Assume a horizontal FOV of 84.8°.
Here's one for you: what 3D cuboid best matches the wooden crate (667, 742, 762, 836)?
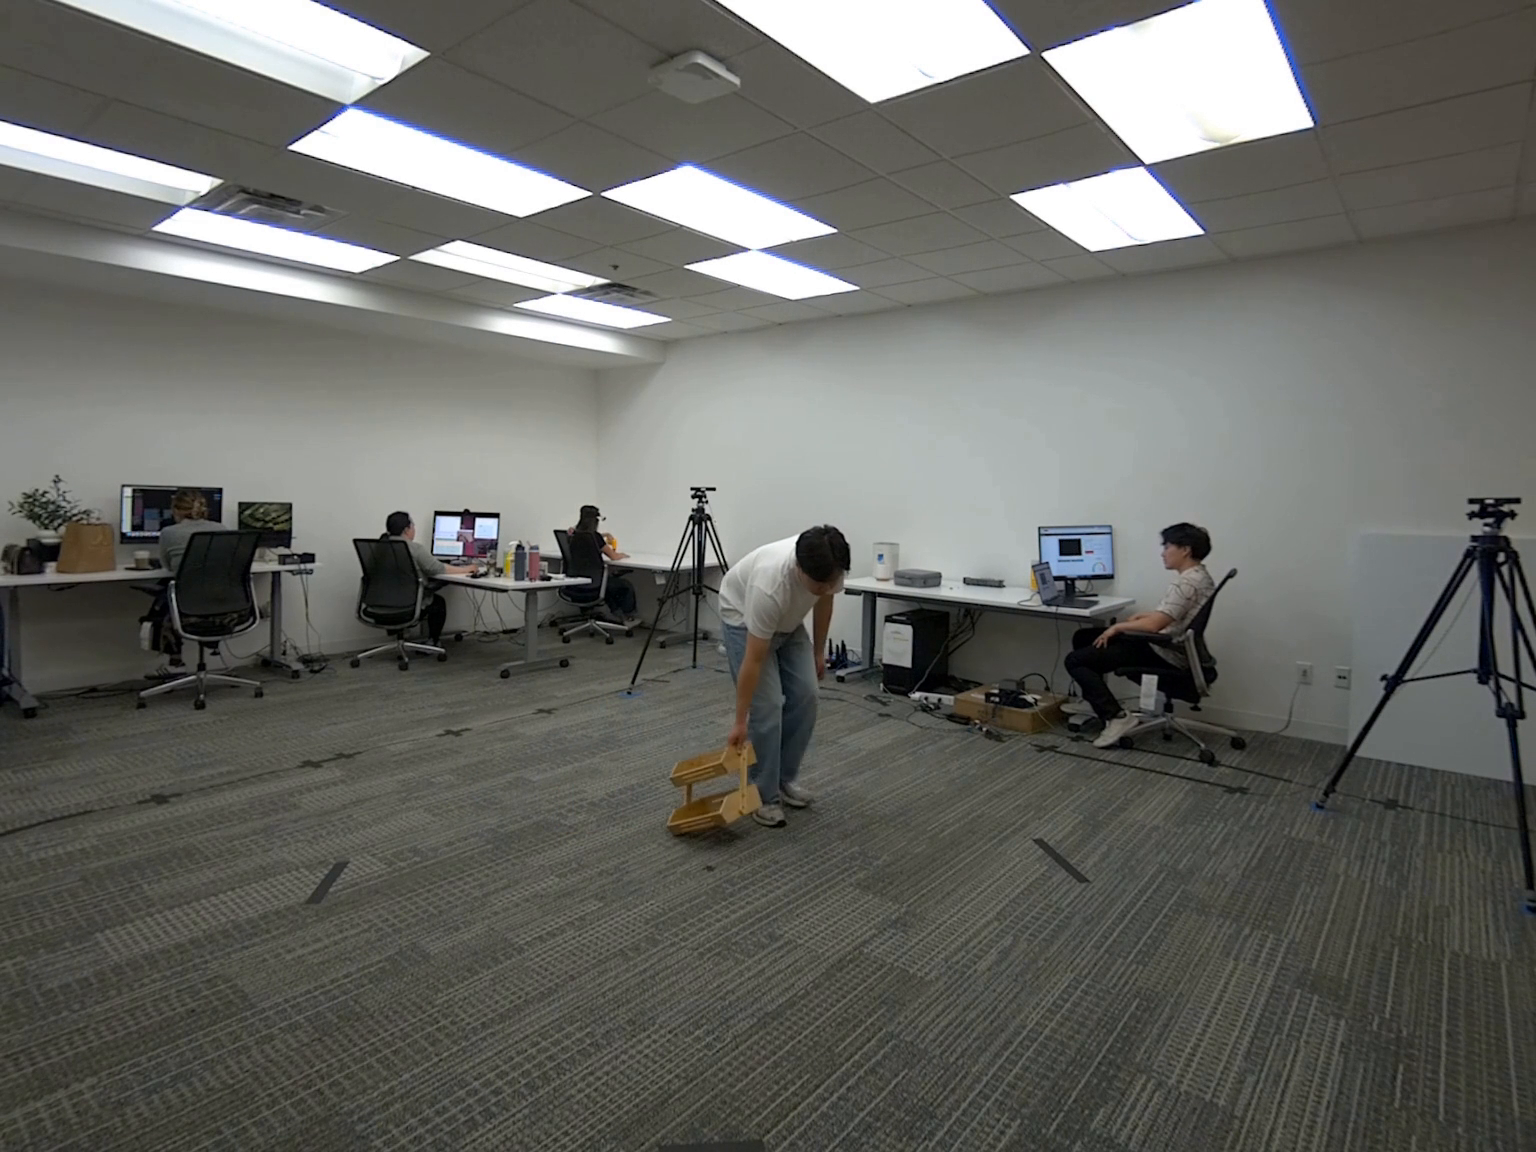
[{"bbox_3d":[-0.246,0.850,3.440,0.329,0.277,0.293,-25,-12,35],"label":"wooden crate"}]
